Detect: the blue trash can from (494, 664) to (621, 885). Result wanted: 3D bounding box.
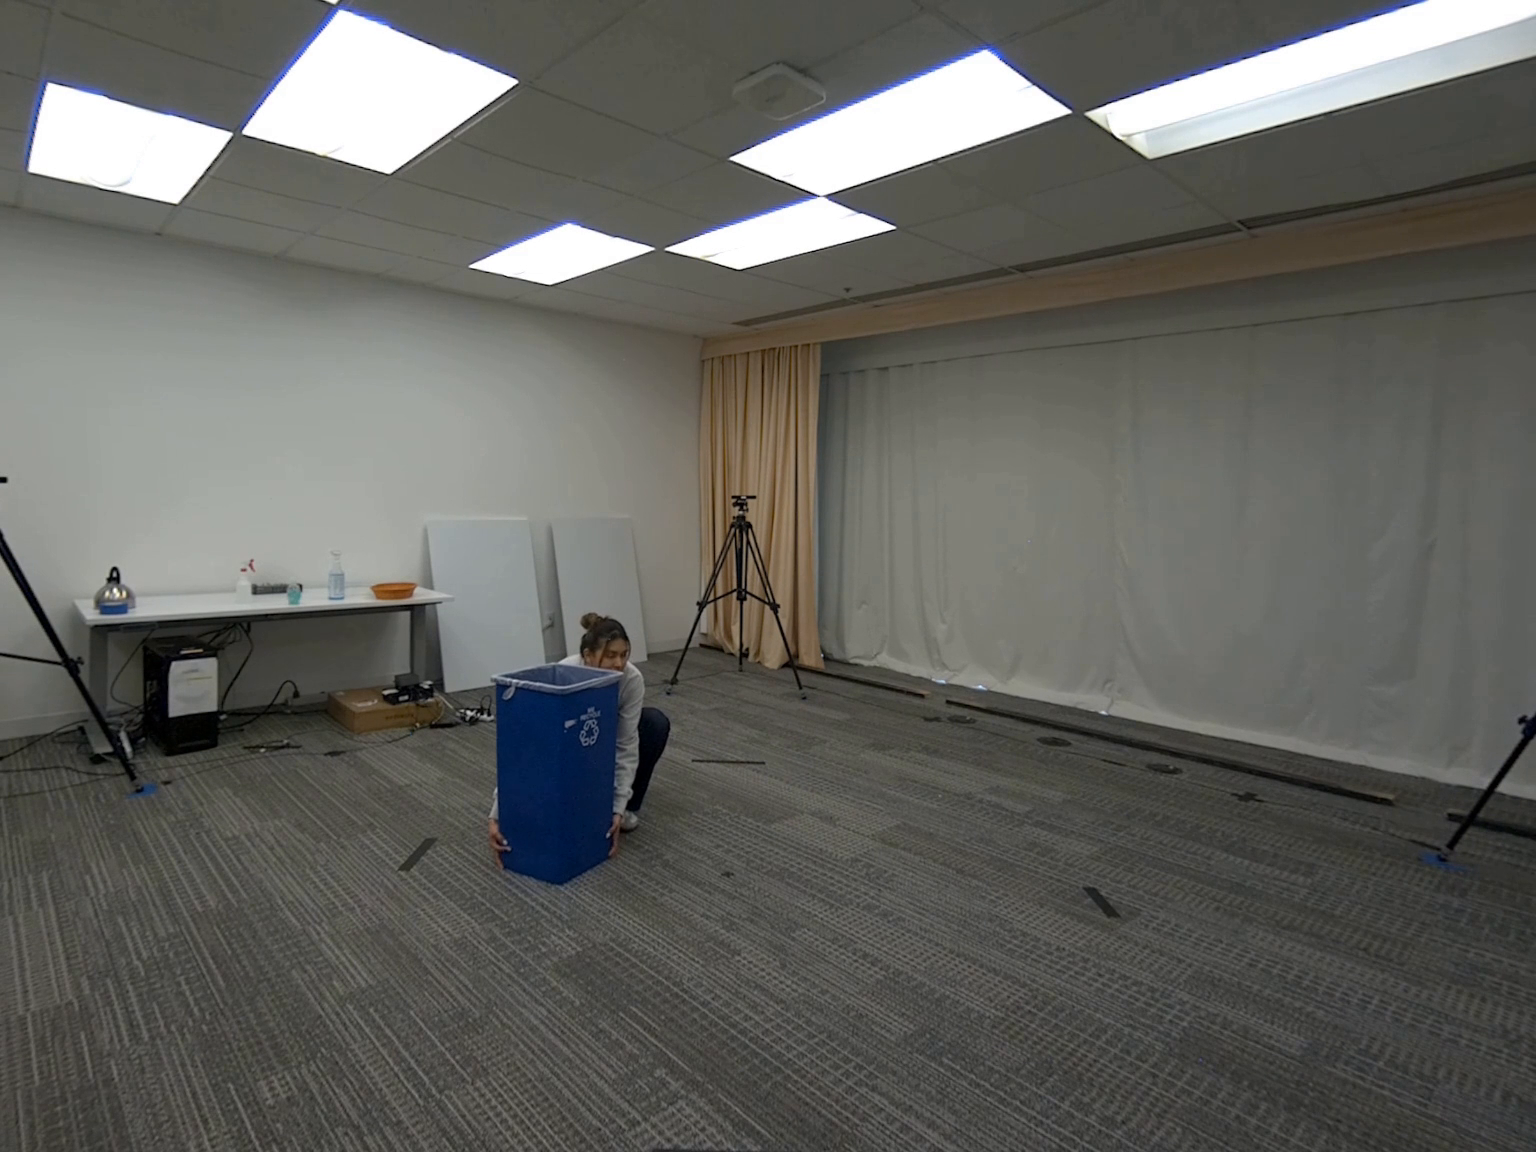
[{"bbox_3d":[-0.804,0.722,3.172,0.386,0.712,0.367,3,4,28],"label":"blue trash can"}]
